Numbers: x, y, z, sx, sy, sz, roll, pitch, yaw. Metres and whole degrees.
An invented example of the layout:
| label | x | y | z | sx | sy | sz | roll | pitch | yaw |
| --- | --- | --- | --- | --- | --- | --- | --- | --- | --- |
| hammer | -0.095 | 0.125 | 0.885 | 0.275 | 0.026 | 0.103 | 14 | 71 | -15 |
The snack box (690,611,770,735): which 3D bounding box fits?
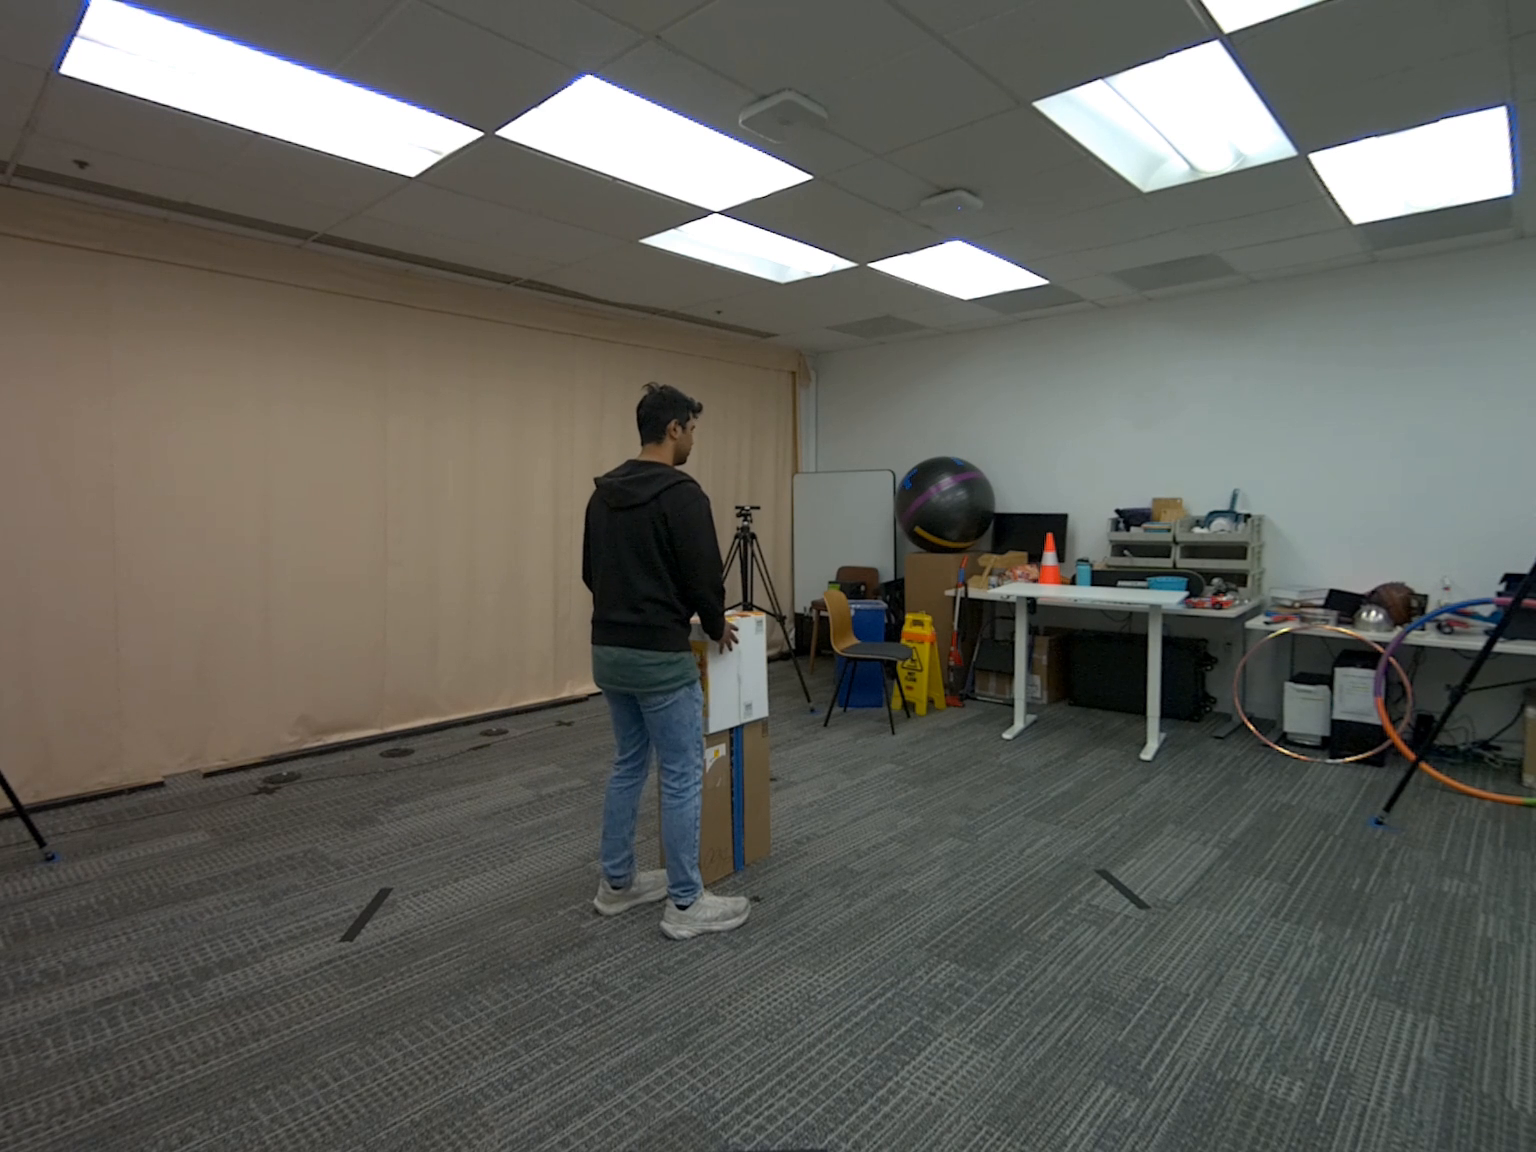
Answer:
| label | x | y | z | sx | sy | sz | roll | pitch | yaw |
| --- | --- | --- | --- | --- | --- | --- | --- | --- | --- |
| snack box | -0.183 | 0.356 | 3.220 | 0.212 | 0.405 | 0.330 | 0 | 3 | 42 |
